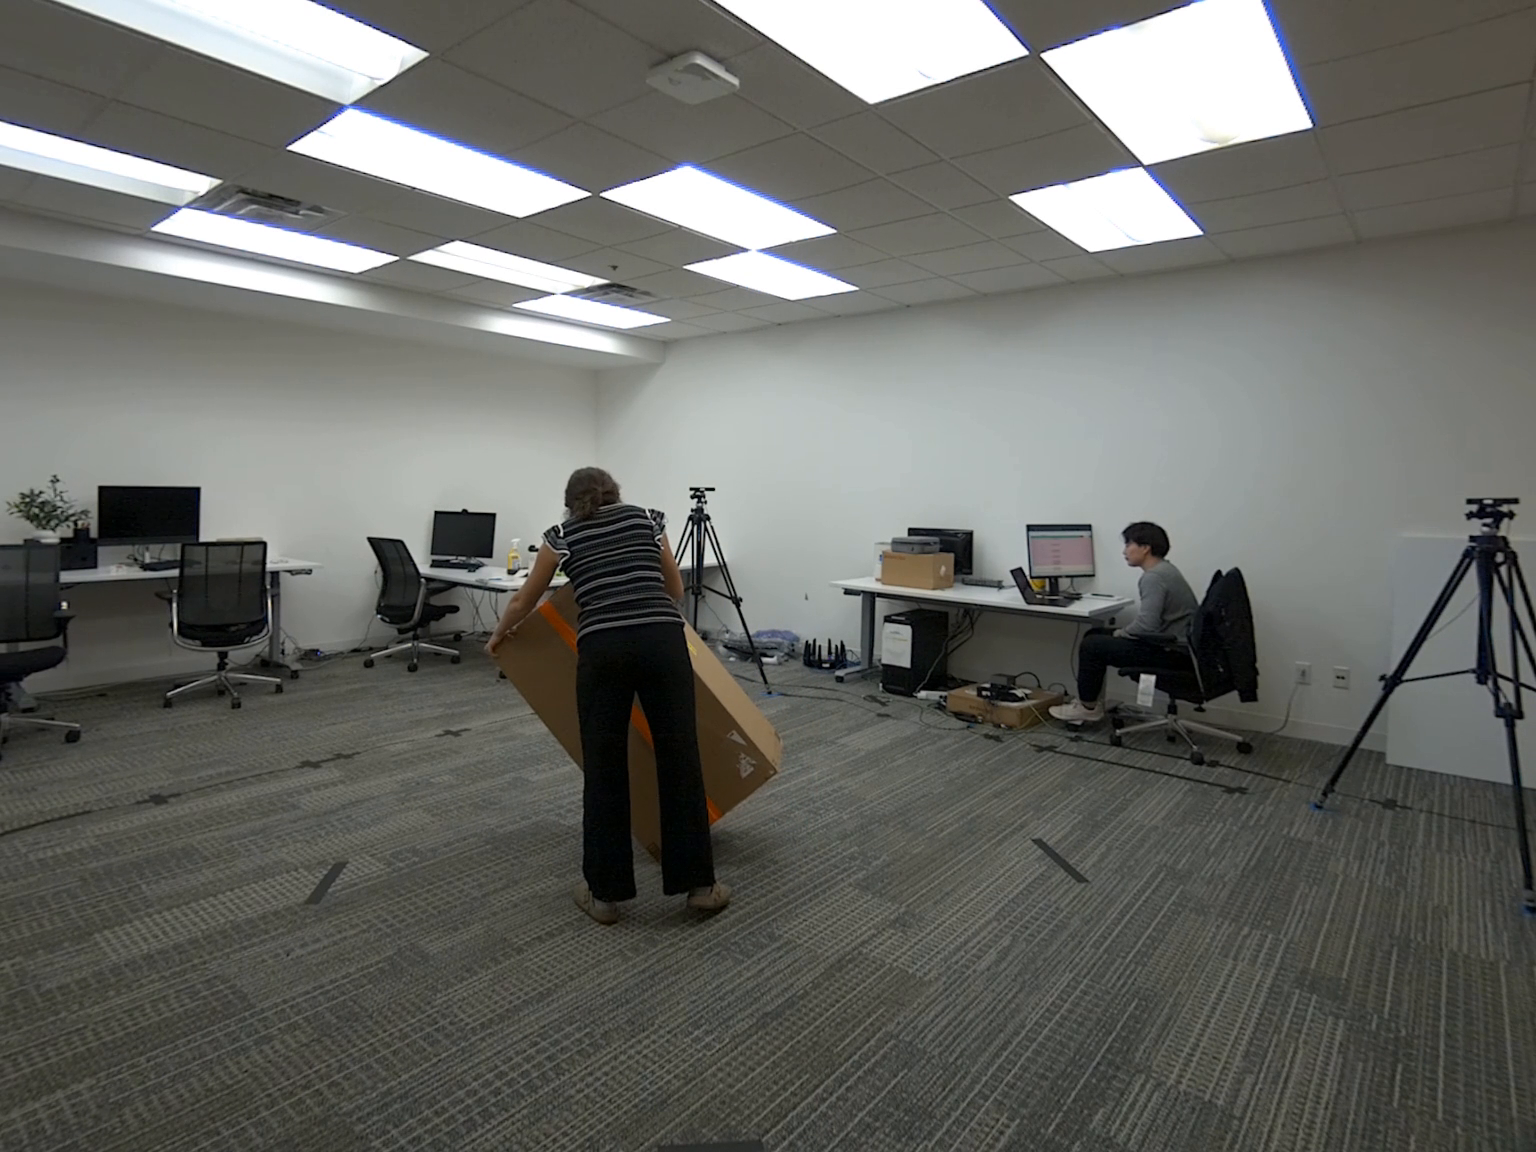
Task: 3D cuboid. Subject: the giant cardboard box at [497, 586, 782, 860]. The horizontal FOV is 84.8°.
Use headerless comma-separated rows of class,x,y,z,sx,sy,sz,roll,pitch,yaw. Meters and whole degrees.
giant cardboard box,-0.504,0.473,3.319,0.578,1.029,0.424,-40,-2,7
